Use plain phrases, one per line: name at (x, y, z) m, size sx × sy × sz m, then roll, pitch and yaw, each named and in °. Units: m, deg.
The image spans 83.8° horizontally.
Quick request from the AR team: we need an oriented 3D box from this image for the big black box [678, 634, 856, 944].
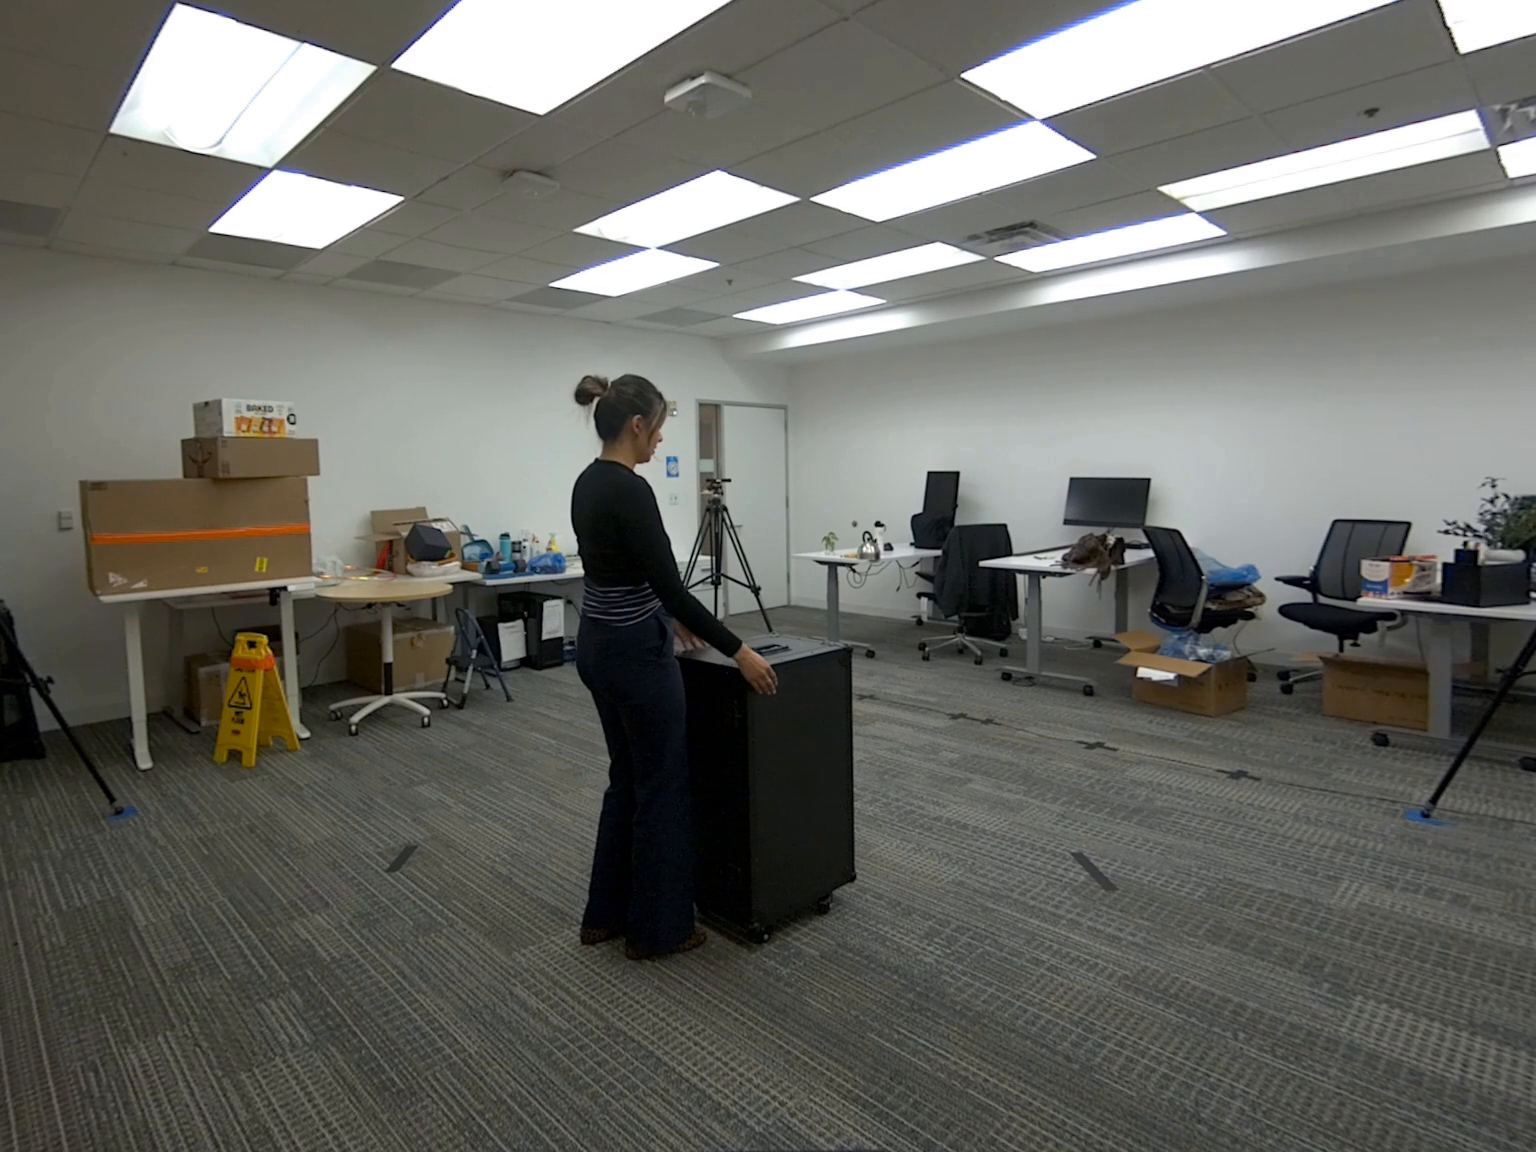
big black box at (-0.008, 0.601, 2.770) m, size 0.507 × 0.858 × 0.408 m, roll -6°, pitch 6°, yaw -44°
